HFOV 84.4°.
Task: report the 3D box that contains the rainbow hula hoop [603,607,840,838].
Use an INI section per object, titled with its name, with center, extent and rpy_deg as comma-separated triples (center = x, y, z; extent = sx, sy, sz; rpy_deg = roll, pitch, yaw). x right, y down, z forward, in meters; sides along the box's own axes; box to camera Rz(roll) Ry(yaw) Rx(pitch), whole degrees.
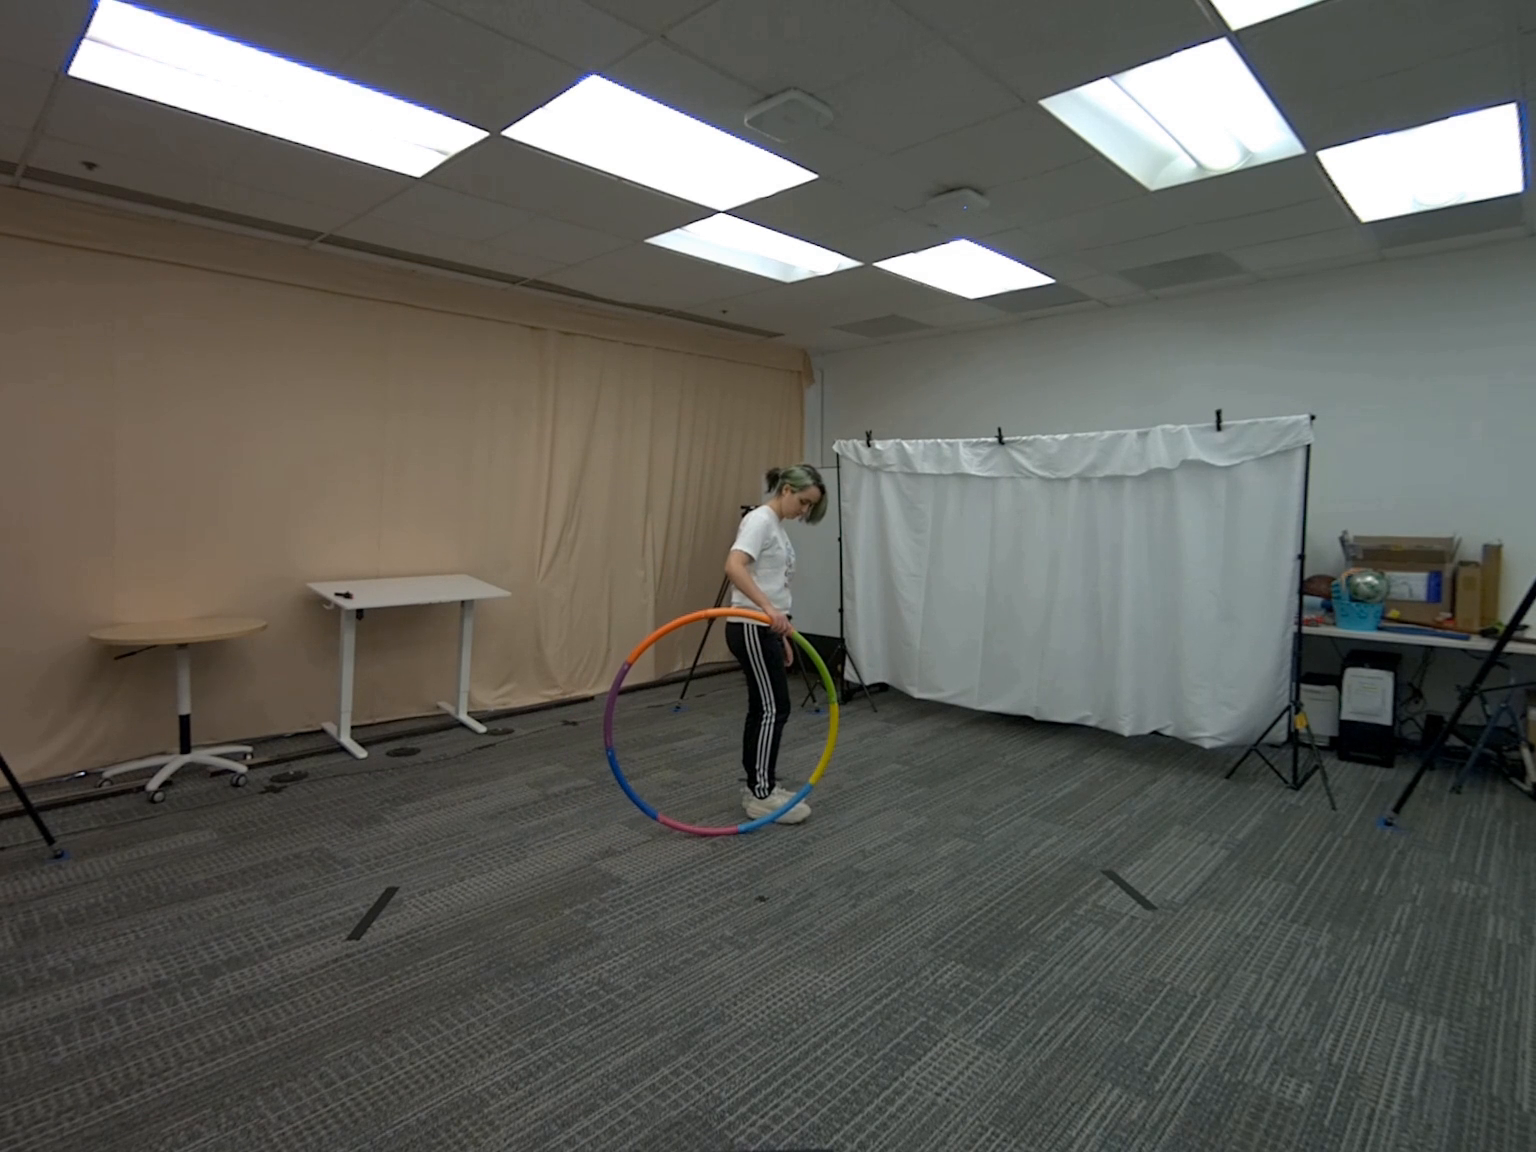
[rainbow hula hoop]
center = -0.184, 0.617, 3.489
extent = 0.968, 0.972, 0.036
rpy_deg = 0, 10, -10
